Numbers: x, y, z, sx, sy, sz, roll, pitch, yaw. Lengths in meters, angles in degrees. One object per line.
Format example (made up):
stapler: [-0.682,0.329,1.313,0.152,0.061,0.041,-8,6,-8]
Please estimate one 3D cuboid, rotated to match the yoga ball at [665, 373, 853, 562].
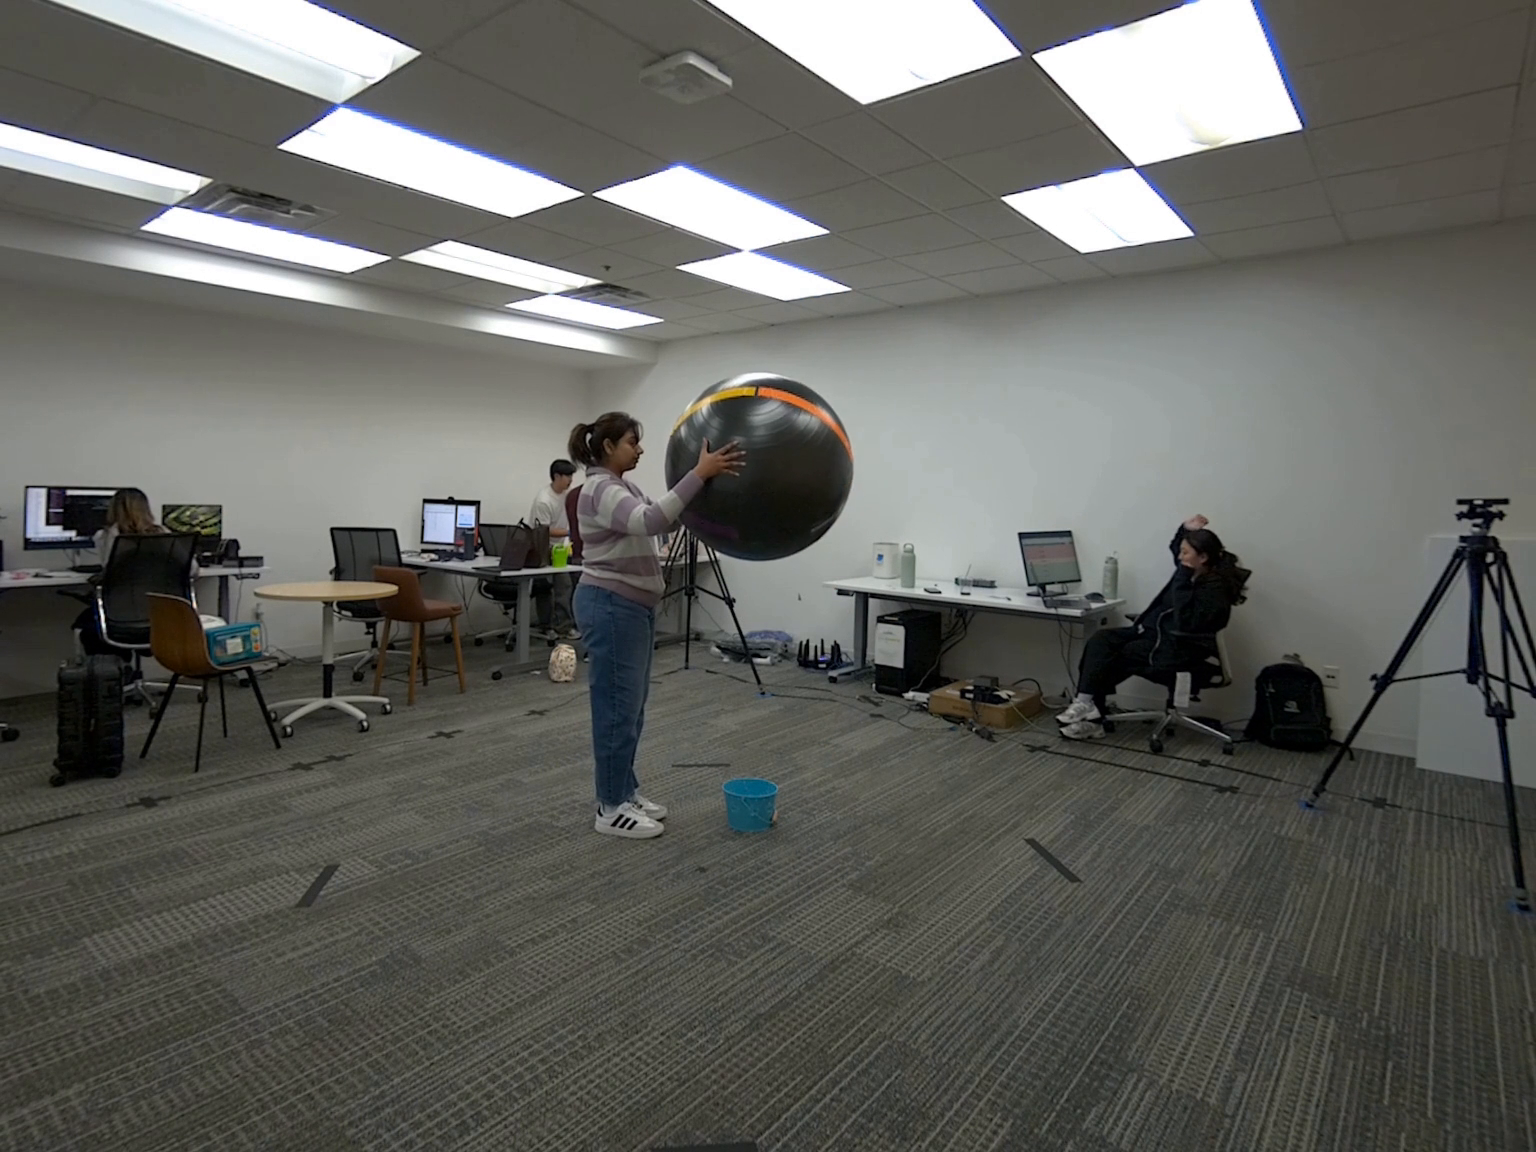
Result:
yoga ball: [-0.049,-0.431,3.455,0.757,0.756,0.761,1,4,-2]
